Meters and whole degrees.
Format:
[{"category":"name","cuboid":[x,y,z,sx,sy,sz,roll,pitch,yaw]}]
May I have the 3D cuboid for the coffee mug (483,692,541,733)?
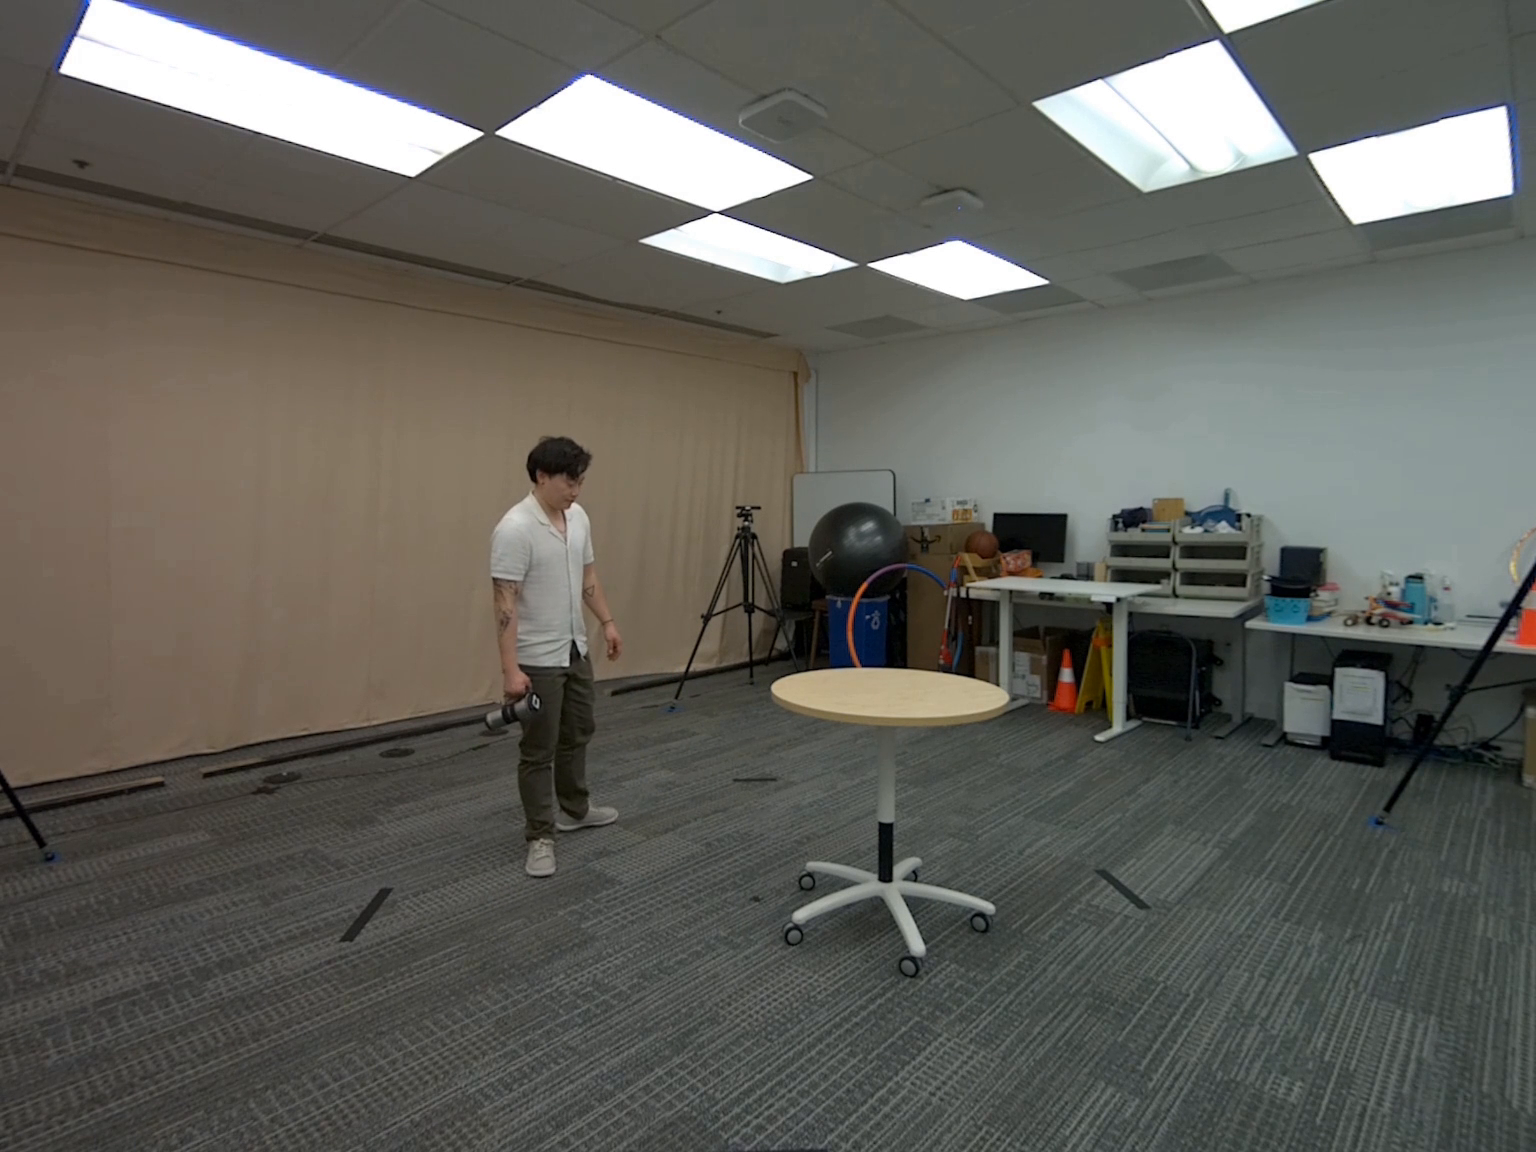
[{"category":"coffee mug","cuboid":[-0.950,0.475,3.080,0.205,0.125,0.085,-21,-31,13]}]
